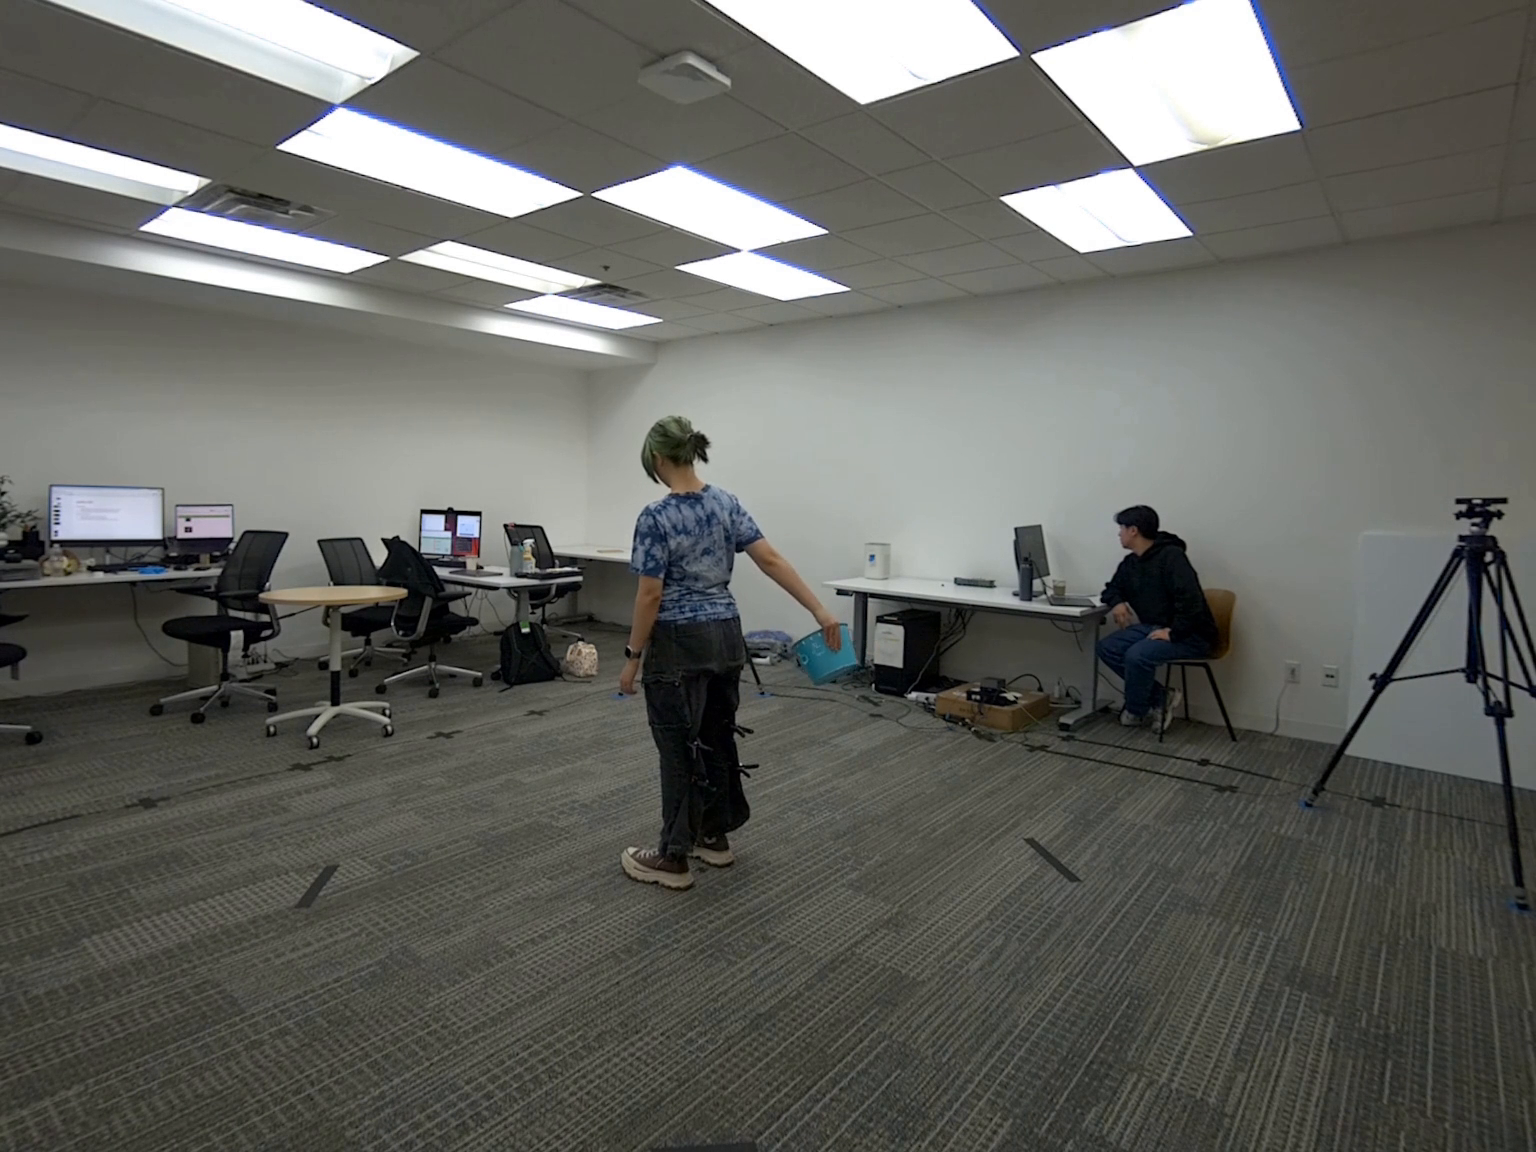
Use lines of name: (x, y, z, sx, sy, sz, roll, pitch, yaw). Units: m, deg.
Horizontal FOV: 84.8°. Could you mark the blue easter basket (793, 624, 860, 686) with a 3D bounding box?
blue easter basket: (0.204, 0.288, 3.113, 0.242, 0.159, 0.239, -20, -17, -9)
